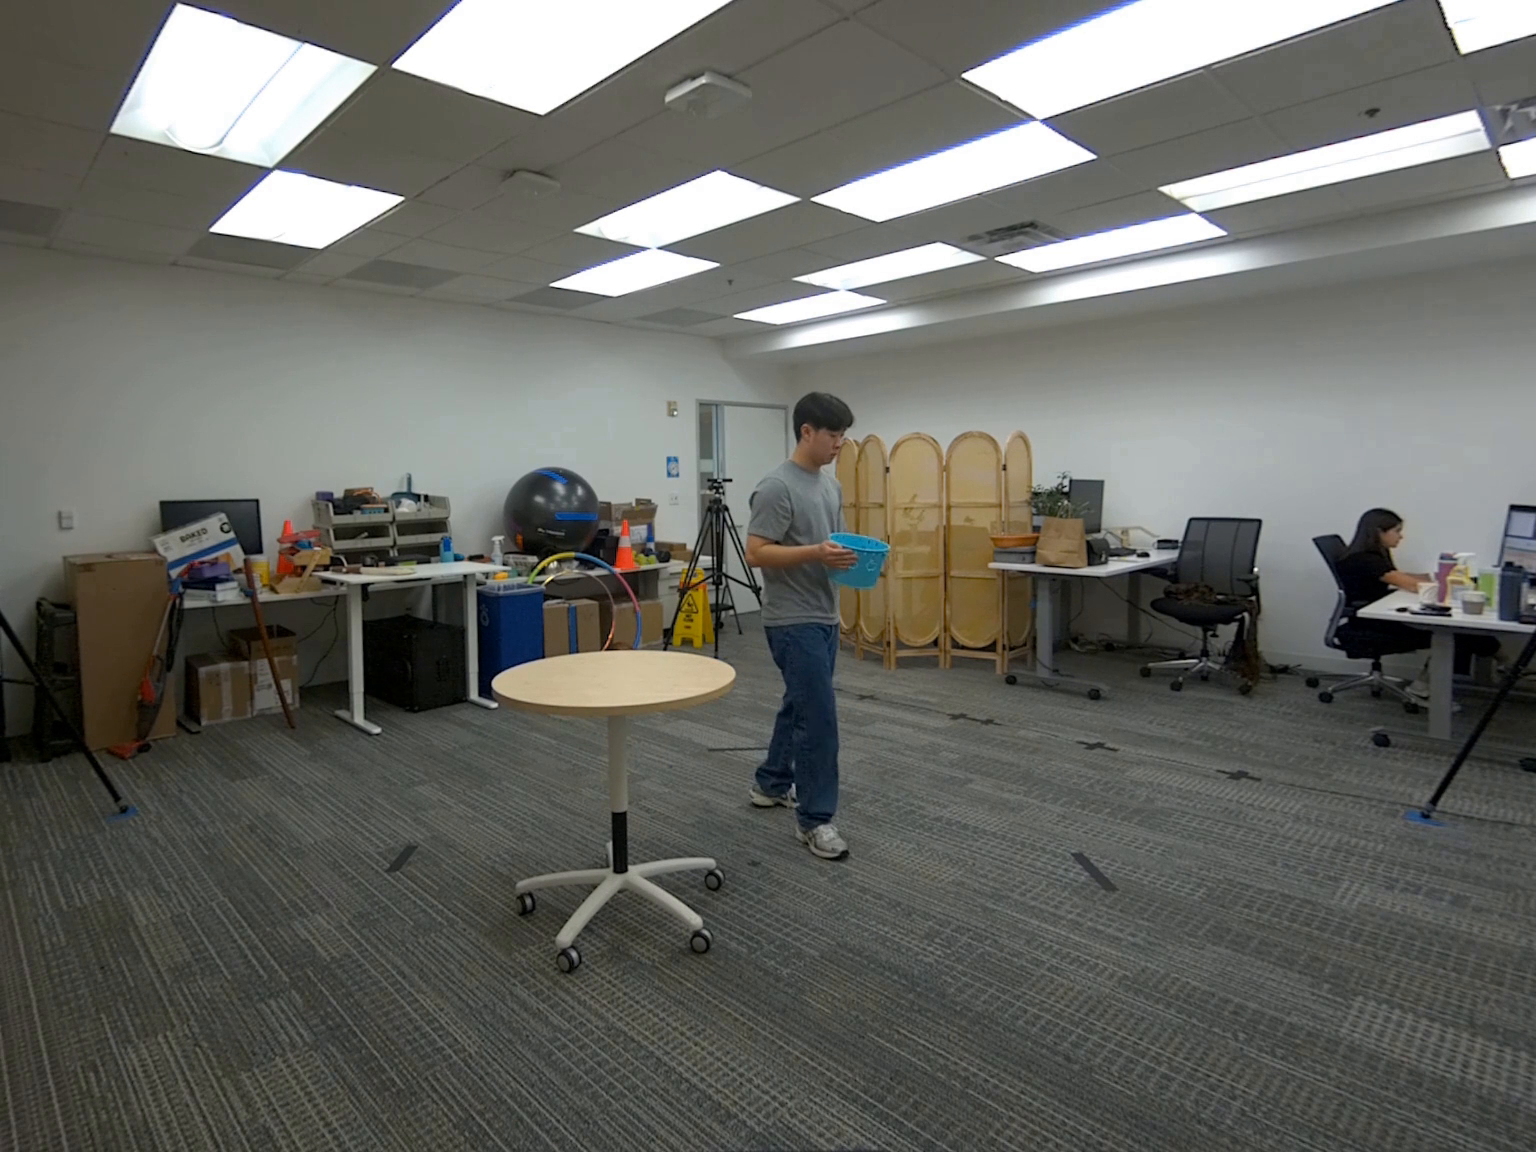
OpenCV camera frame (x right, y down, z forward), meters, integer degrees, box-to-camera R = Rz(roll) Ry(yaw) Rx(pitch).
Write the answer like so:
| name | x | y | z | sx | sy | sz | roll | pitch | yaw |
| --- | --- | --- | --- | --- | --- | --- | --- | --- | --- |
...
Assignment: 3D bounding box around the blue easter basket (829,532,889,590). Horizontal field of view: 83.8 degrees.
| name | x | y | z | sx | sy | sz | roll | pitch | yaw |
| --- | --- | --- | --- | --- | --- | --- | --- | --- | --- |
| blue easter basket | 0.315 | -0.055 | 3.206 | 0.243 | 0.154 | 0.246 | 6 | 13 | -3 |
